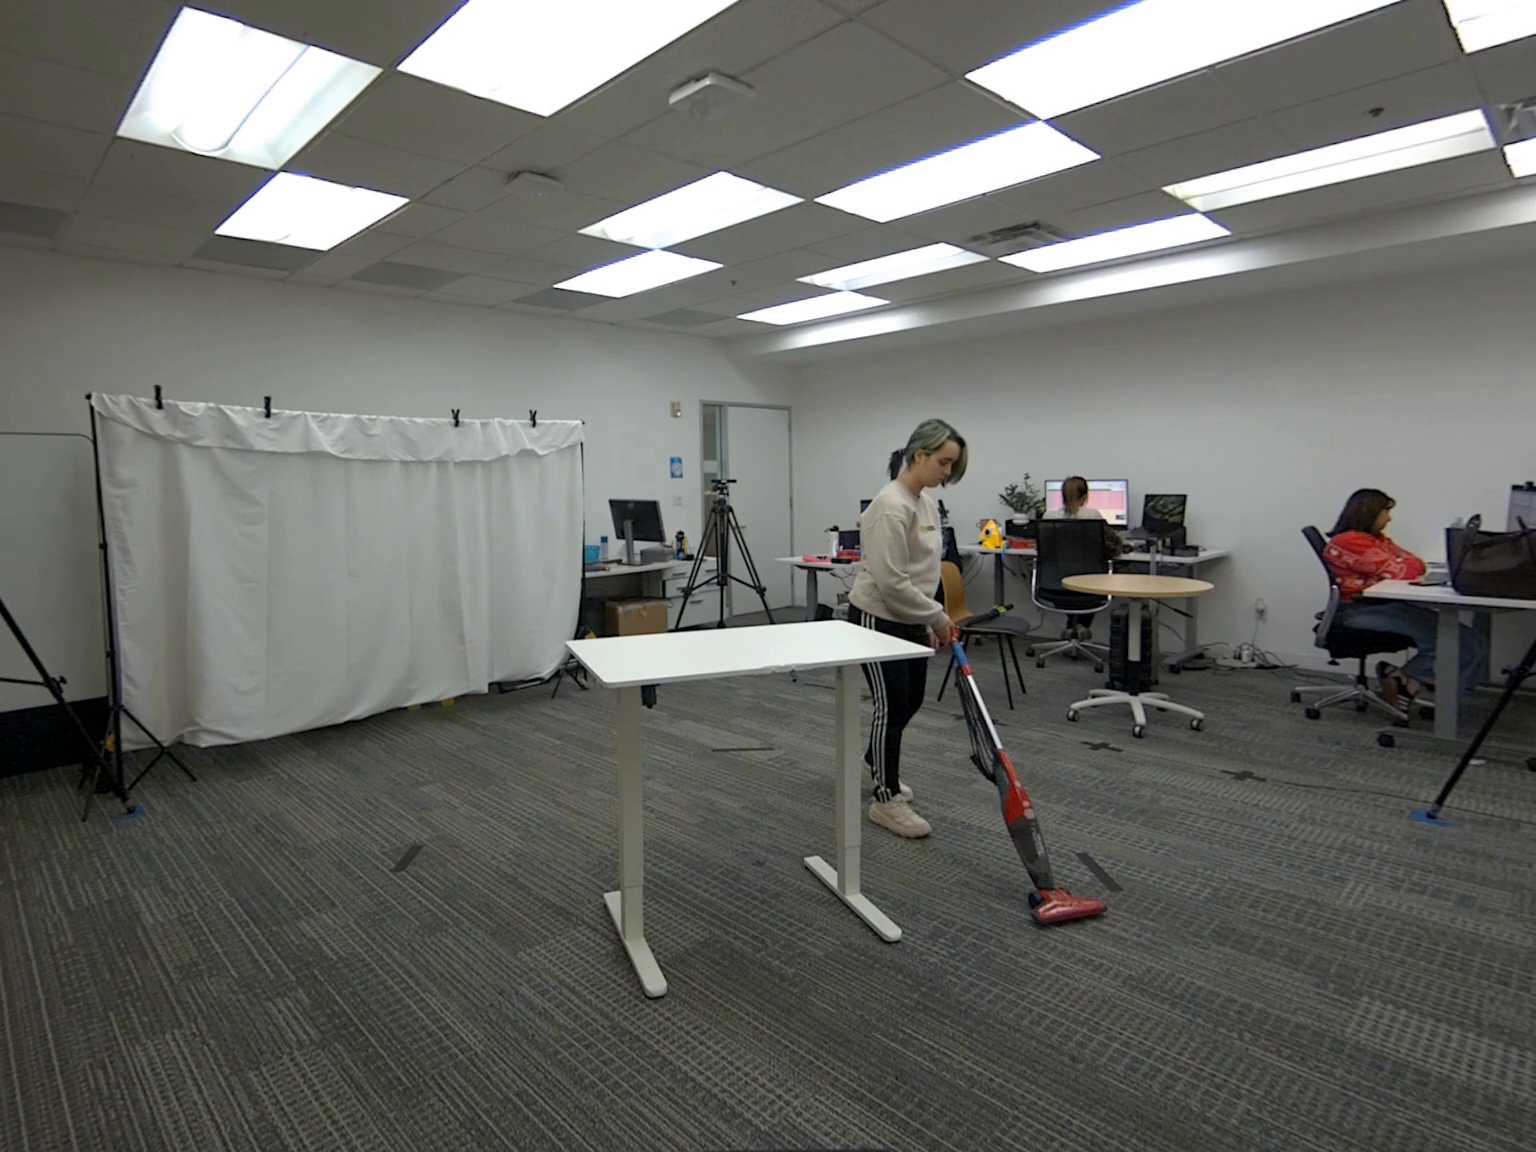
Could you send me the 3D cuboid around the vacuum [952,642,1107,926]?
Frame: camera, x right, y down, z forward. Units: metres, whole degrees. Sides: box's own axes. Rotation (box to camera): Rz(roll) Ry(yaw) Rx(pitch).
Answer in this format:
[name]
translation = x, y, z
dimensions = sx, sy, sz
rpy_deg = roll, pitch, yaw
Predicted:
[vacuum]
translation = 0.813, 0.650, 3.033
dimensions = 0.248, 1.084, 0.142
rpy_deg = 0, -40, -21
